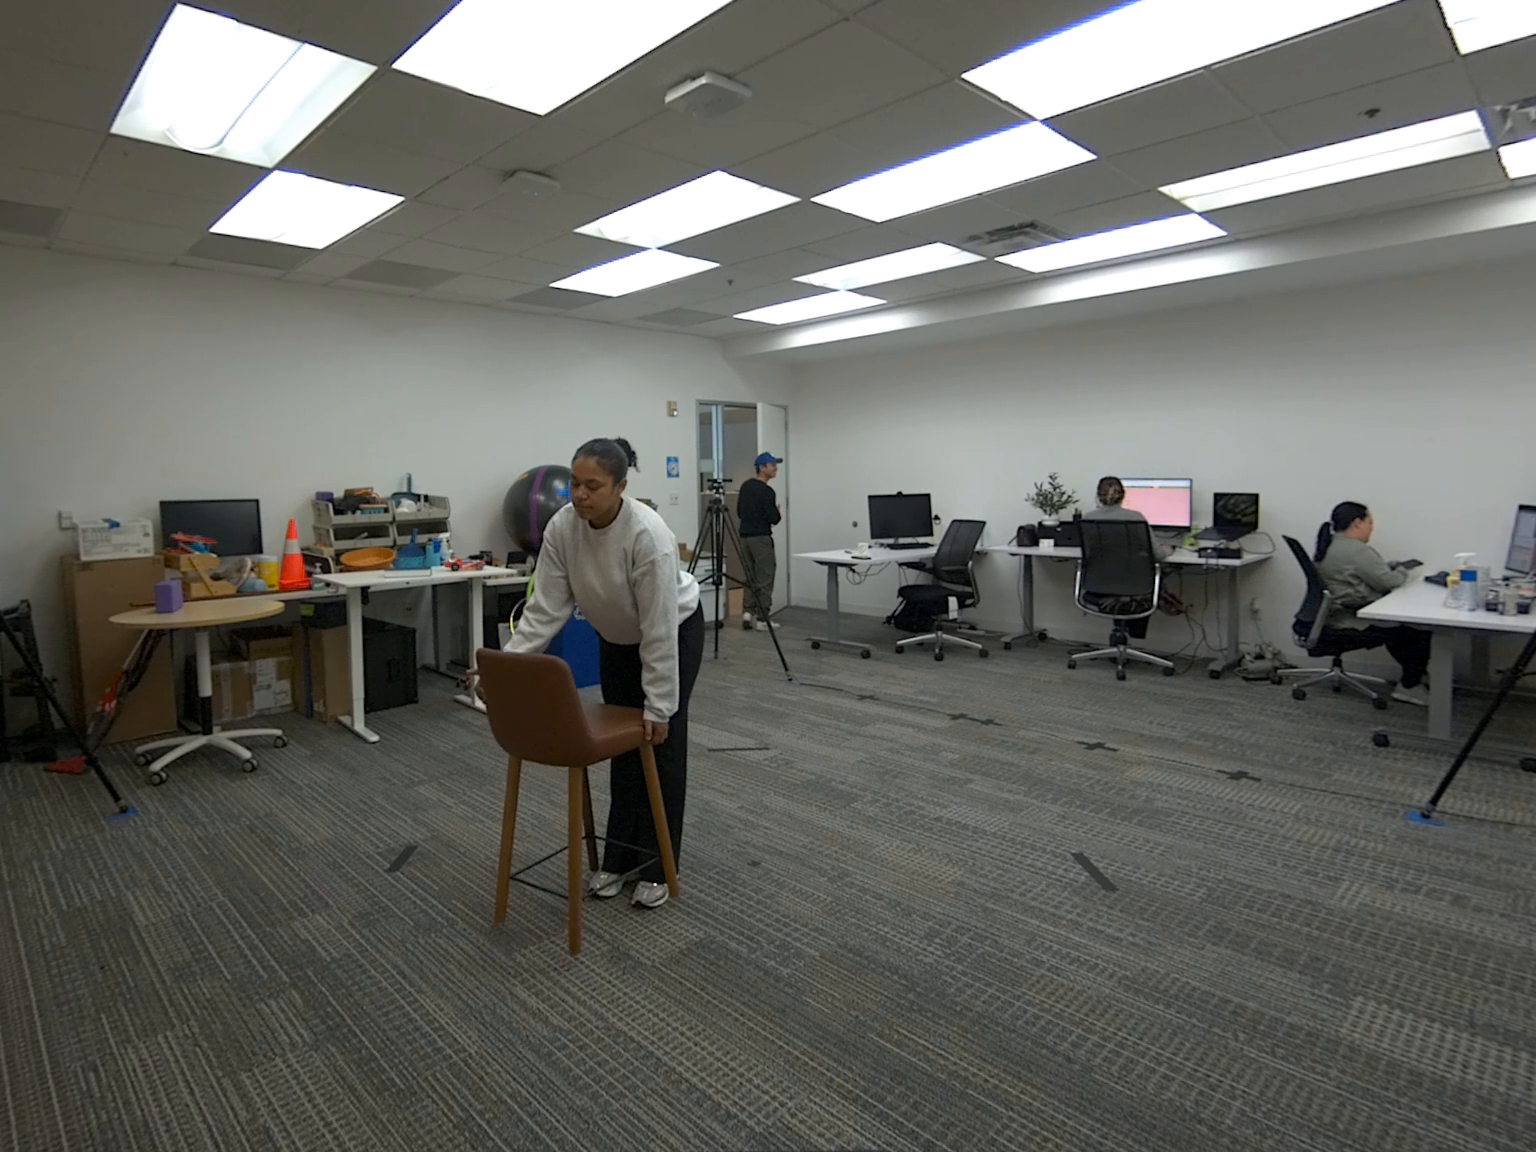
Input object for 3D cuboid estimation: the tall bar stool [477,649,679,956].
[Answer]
[{"bbox_3d":[-0.605,0.630,2.710,0.469,0.886,0.457,-1,5,37],"label":"tall bar stool"}]
